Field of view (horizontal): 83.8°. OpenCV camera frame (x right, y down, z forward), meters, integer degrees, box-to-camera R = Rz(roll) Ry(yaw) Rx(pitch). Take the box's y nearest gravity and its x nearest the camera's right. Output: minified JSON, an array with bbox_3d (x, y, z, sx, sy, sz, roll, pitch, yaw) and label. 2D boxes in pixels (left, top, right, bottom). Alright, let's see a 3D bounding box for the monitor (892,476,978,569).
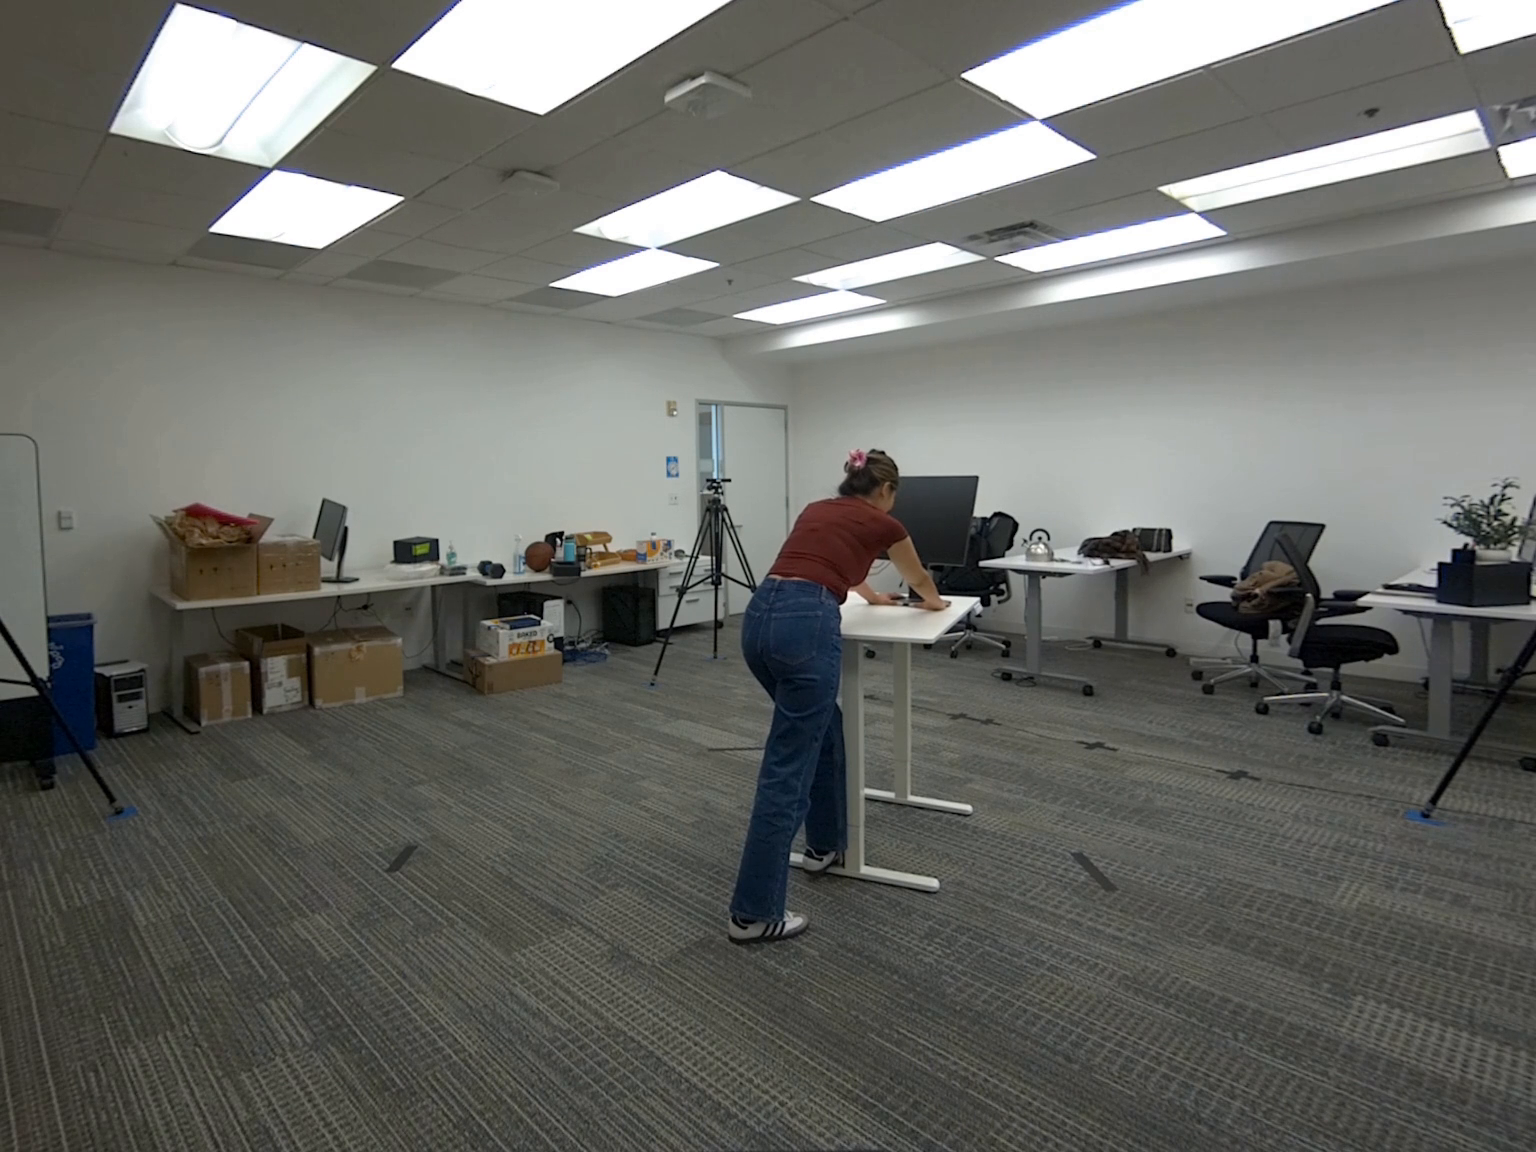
[{"bbox_3d":[0.597,-0.143,3.454,0.555,0.521,0.182,4,4,39],"label":"monitor"}]
